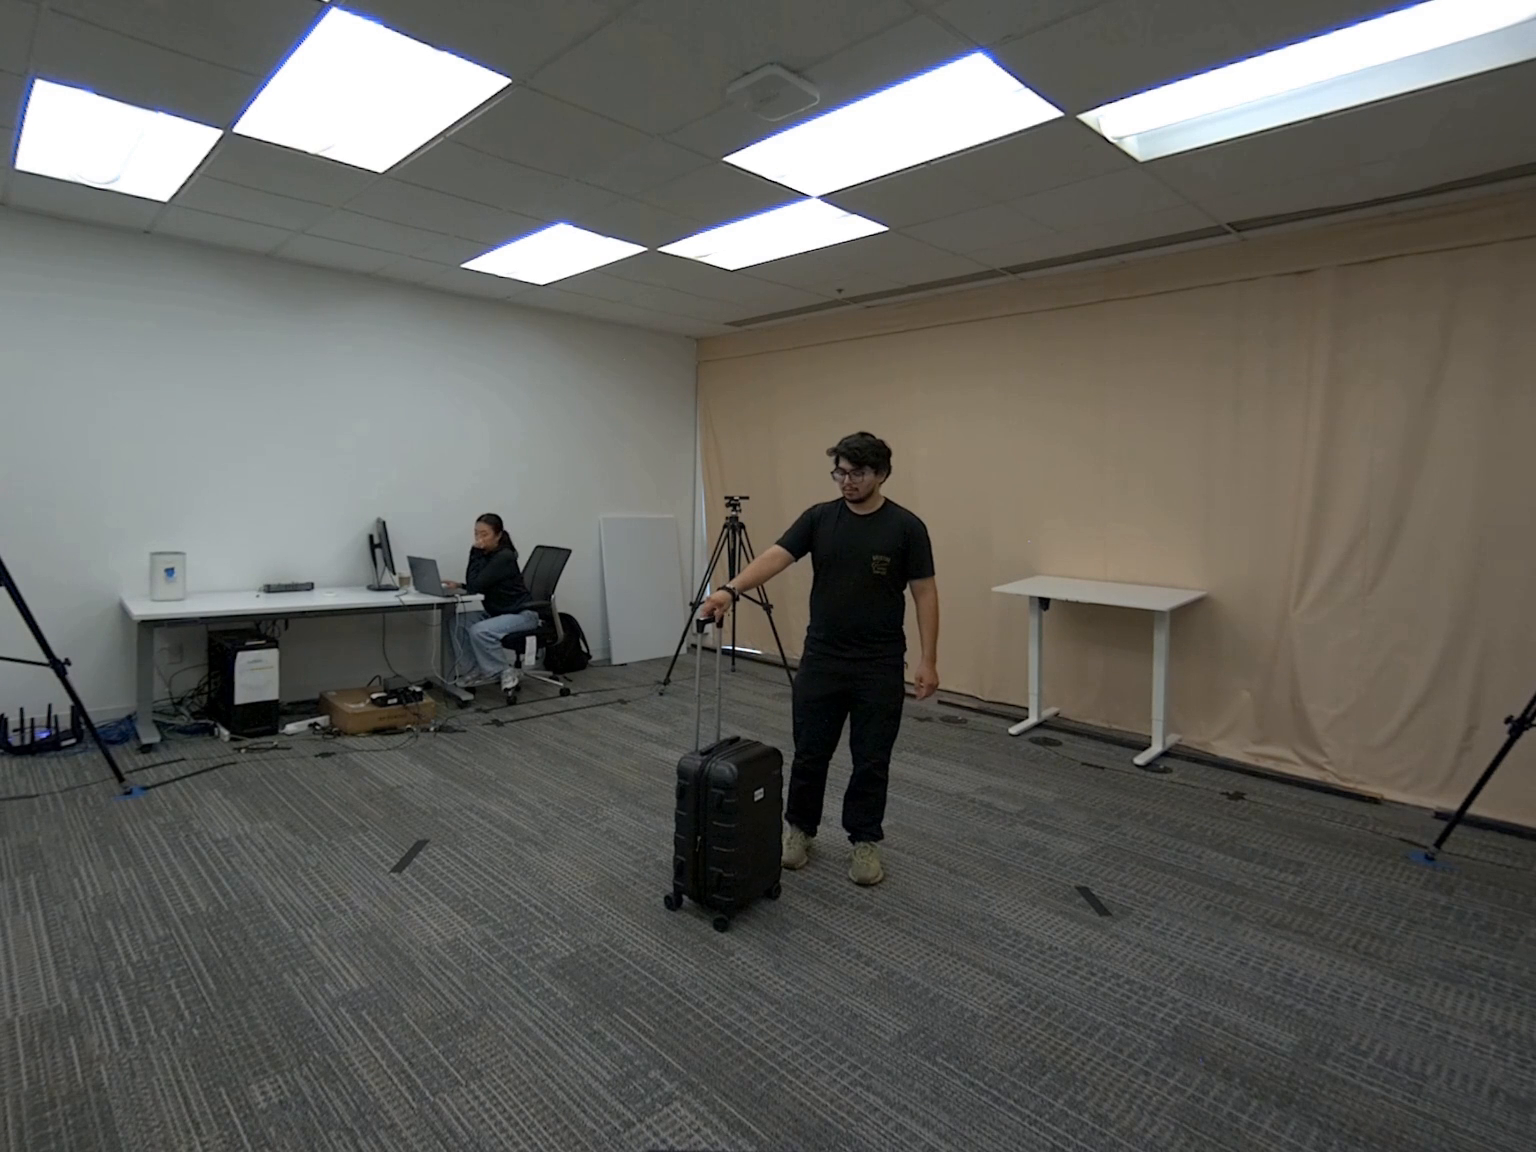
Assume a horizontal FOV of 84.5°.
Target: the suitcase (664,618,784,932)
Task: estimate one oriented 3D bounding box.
[{"bbox_3d":[-0.127,0.649,2.862,0.263,0.975,0.376,6,5,34],"label":"suitcase"}]
